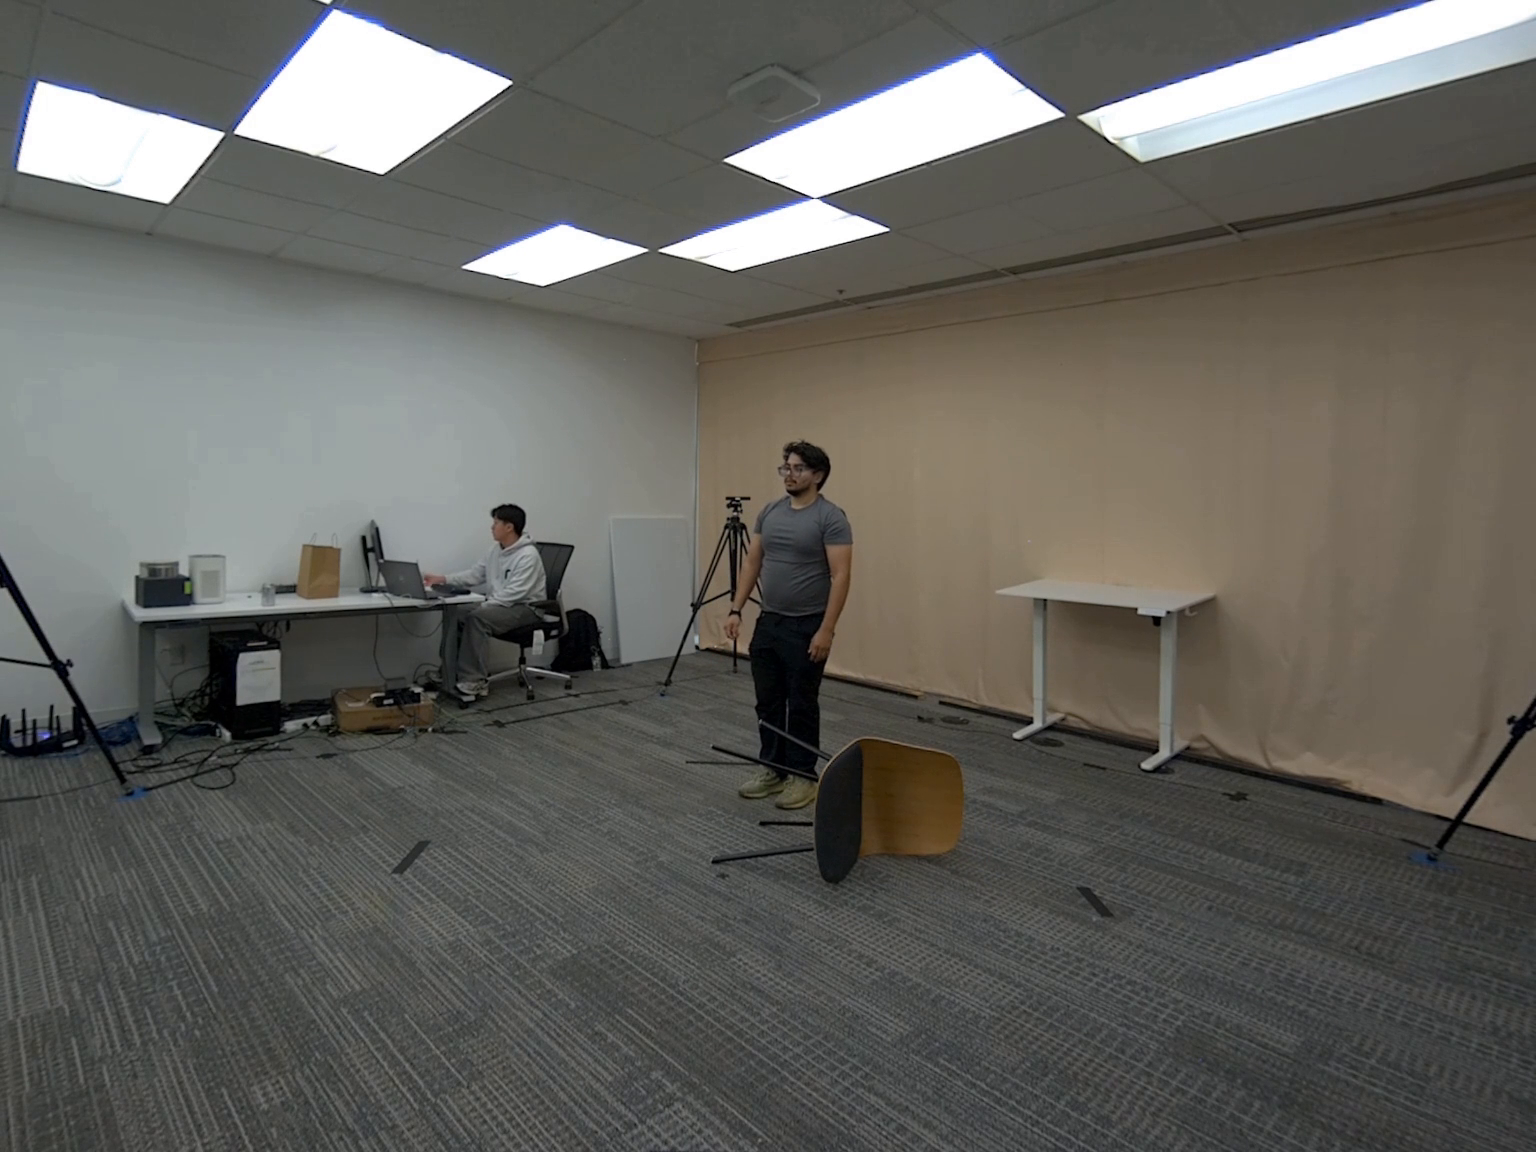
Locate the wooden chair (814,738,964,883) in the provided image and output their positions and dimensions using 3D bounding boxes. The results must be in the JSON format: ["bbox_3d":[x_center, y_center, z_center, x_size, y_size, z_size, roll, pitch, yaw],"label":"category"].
[{"bbox_3d":[0.260,0.871,3.207,0.892,0.477,0.515,3,3,21],"label":"wooden chair"}]
